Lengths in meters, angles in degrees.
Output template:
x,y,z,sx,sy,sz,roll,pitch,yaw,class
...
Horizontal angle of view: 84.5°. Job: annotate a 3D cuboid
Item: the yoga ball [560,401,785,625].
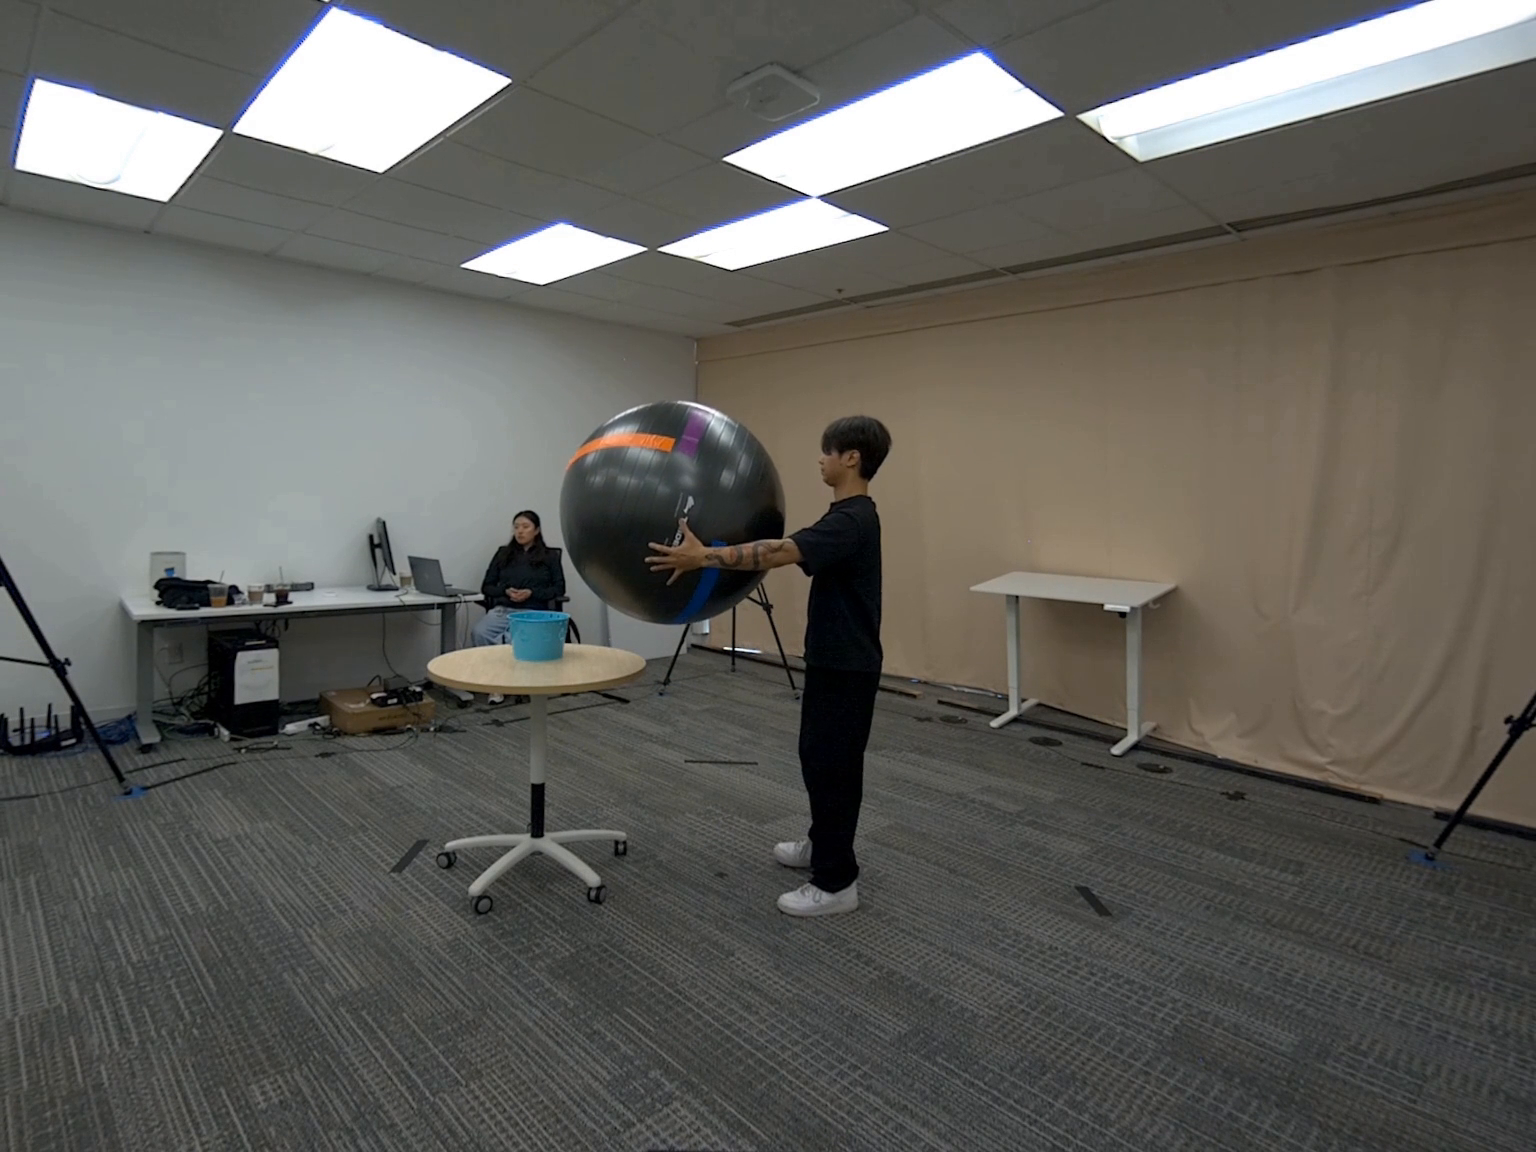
x,y,z,sx,sy,sz,roll,pitch,yaw,class
-0.333,-0.211,2.863,0.757,0.756,0.761,1,4,-1,yoga ball
